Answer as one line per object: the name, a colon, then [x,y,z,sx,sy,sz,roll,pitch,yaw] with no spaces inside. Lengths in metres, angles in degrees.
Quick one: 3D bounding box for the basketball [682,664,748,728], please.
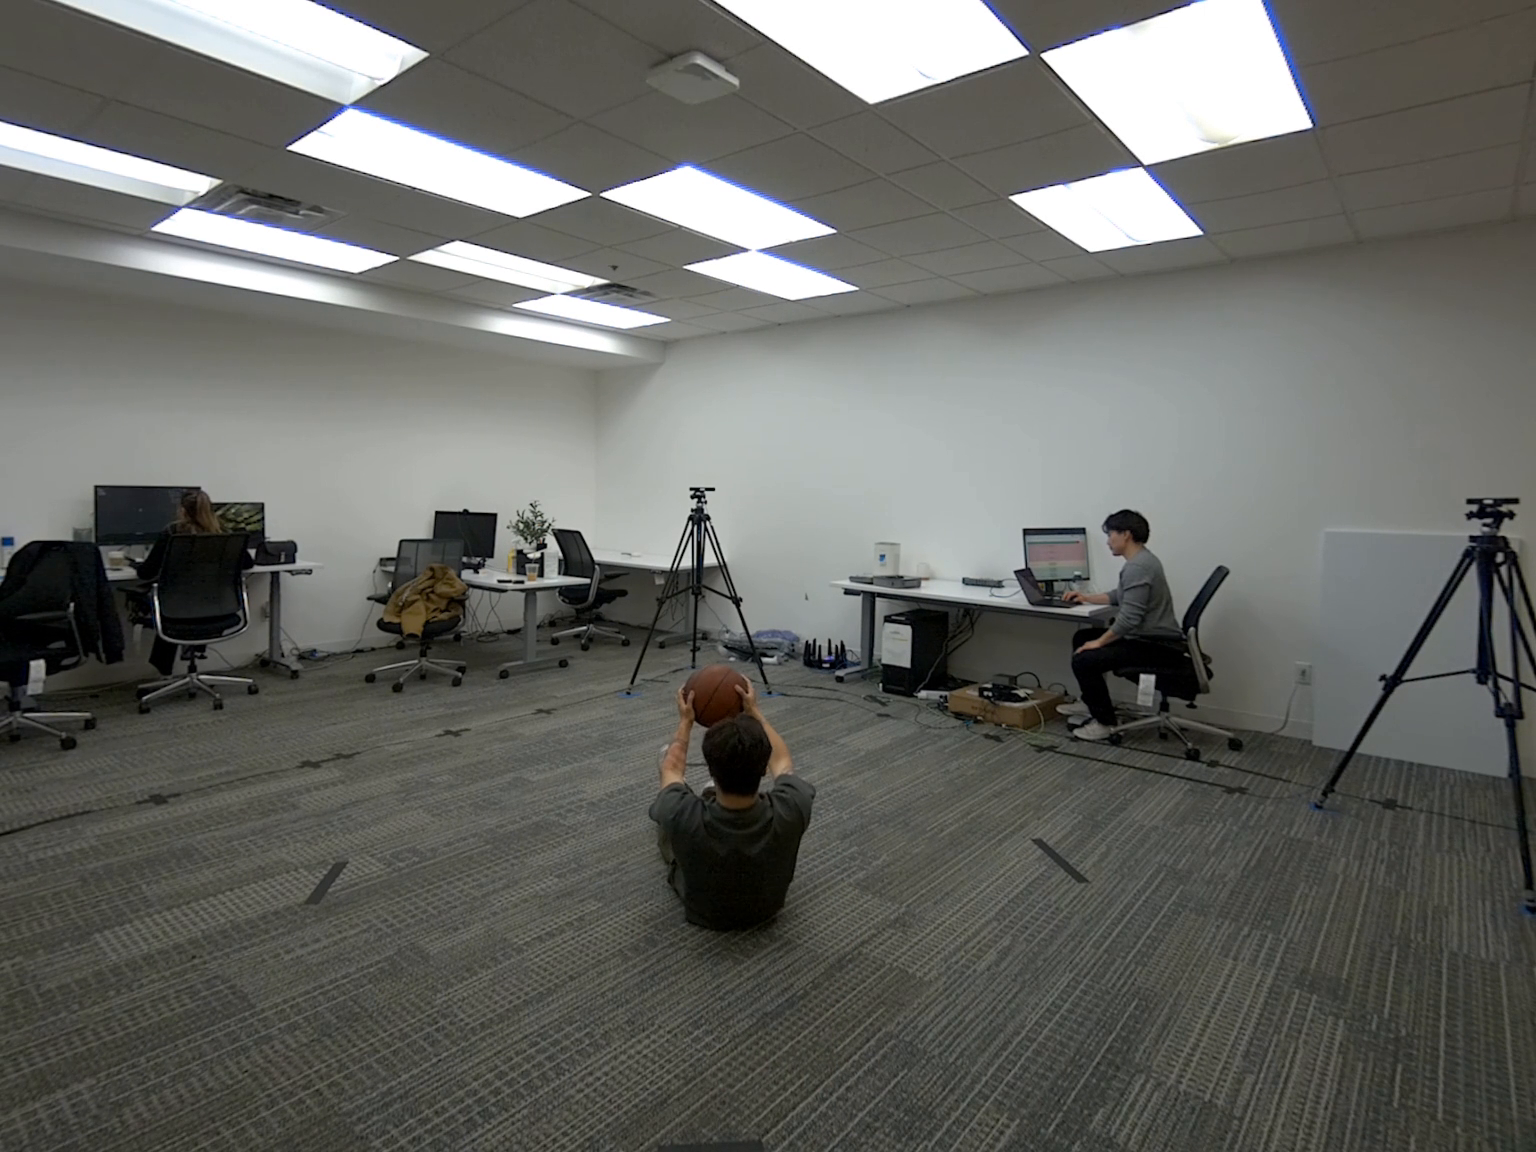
basketball: [-0.200,0.446,3.143,0.235,0.235,0.237,1,4,-2]
